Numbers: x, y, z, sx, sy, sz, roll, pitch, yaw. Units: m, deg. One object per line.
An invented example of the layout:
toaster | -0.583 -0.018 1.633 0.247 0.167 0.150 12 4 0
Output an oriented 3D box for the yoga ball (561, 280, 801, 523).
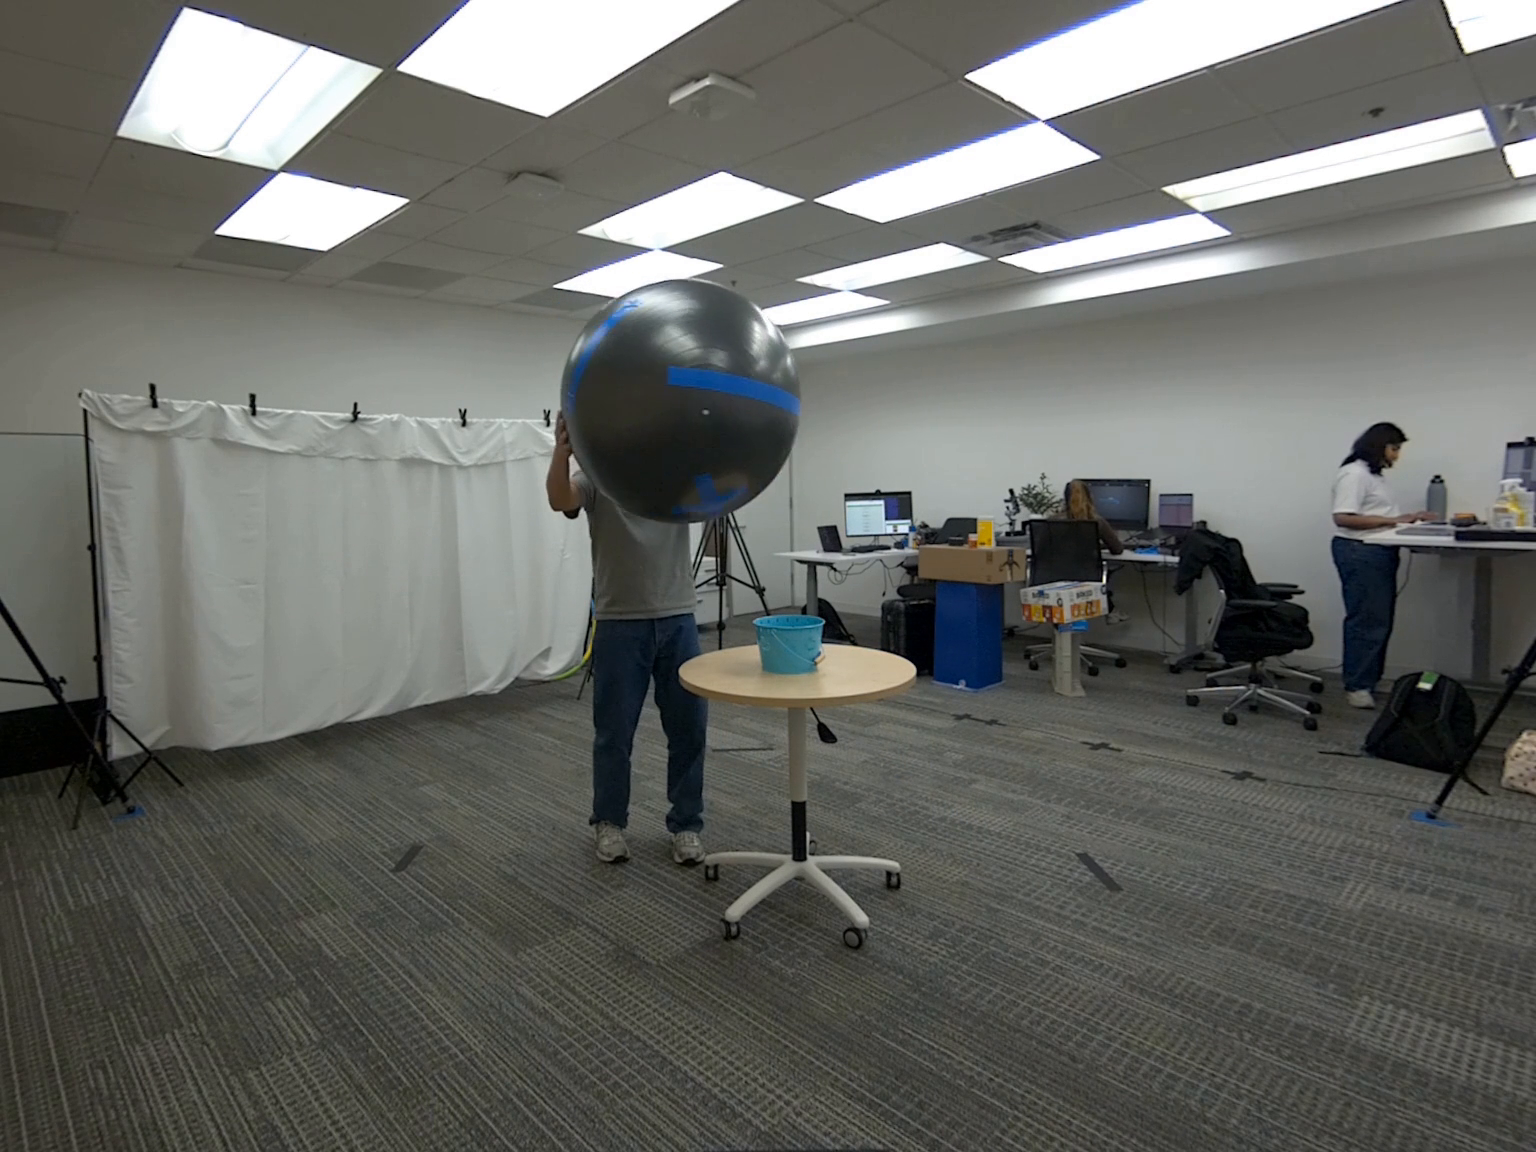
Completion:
yoga ball | -0.273 -0.538 2.711 0.757 0.755 0.762 -1 5 -2
